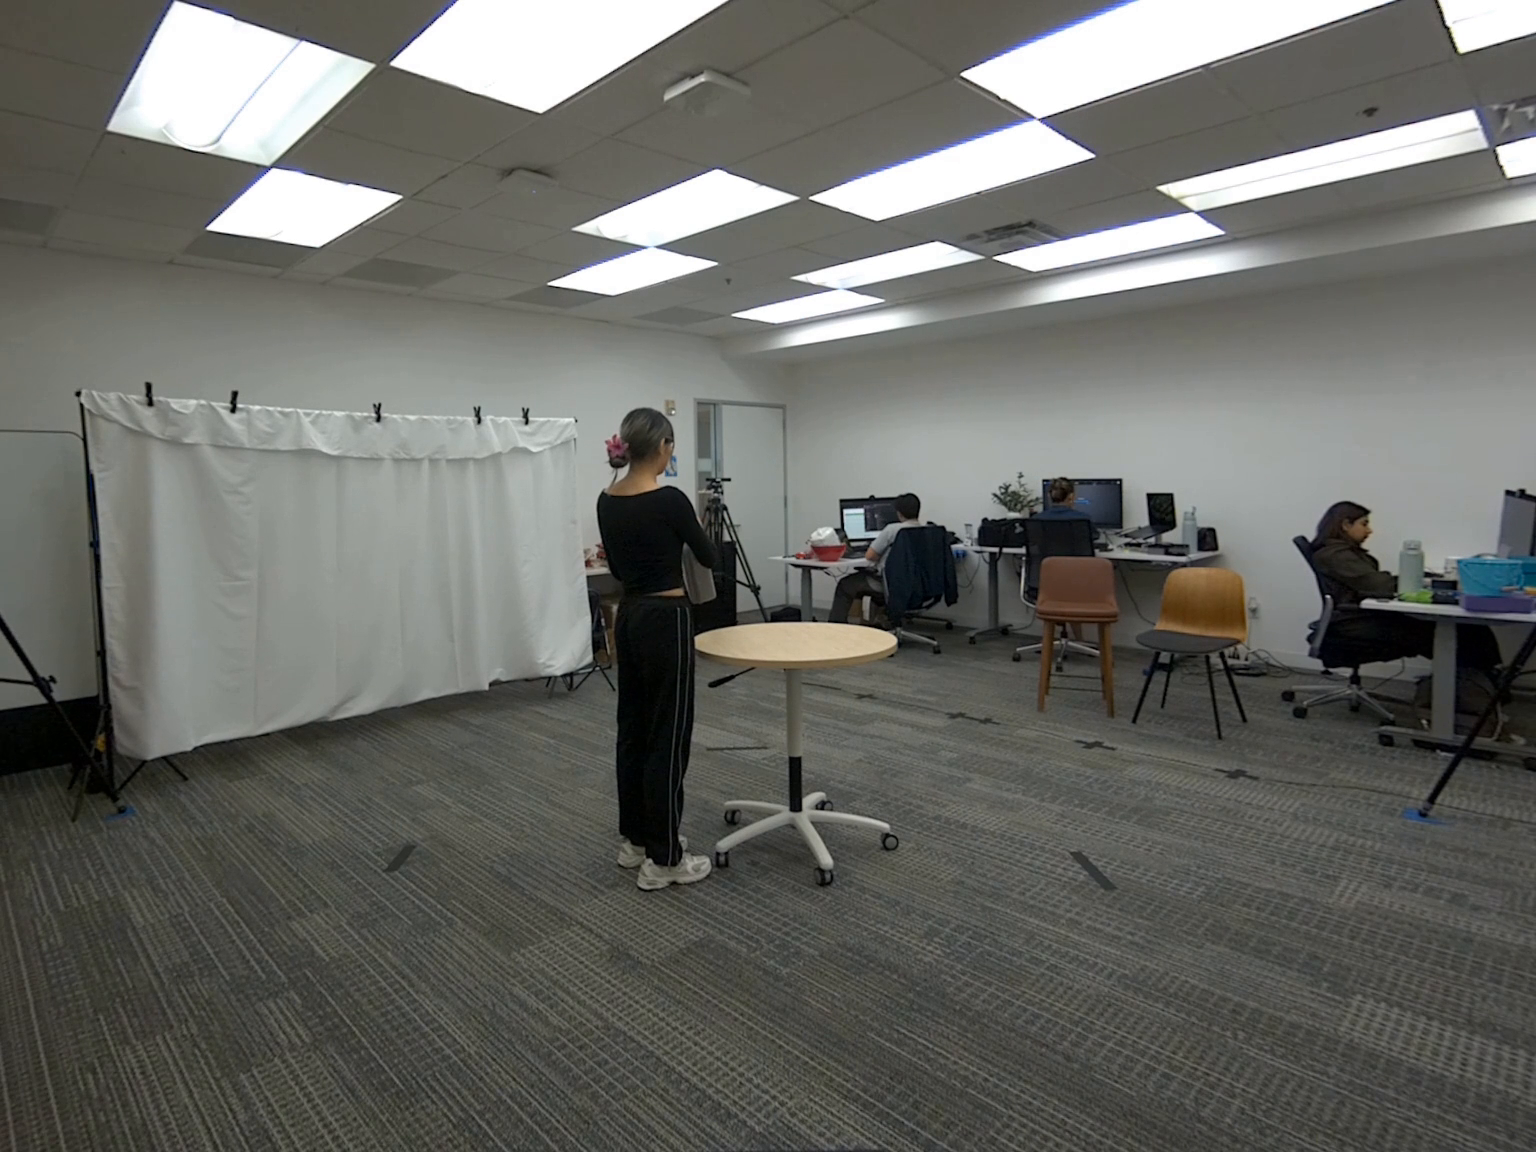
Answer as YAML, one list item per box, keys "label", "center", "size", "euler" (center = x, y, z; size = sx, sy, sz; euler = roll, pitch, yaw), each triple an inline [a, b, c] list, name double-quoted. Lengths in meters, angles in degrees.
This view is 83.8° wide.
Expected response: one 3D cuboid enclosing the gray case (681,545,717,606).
- label: "gray case"
  center: [-0.293, -0.050, 3.418]
  size: [0.104, 0.255, 0.264]
  euler: [-13, 21, -8]
